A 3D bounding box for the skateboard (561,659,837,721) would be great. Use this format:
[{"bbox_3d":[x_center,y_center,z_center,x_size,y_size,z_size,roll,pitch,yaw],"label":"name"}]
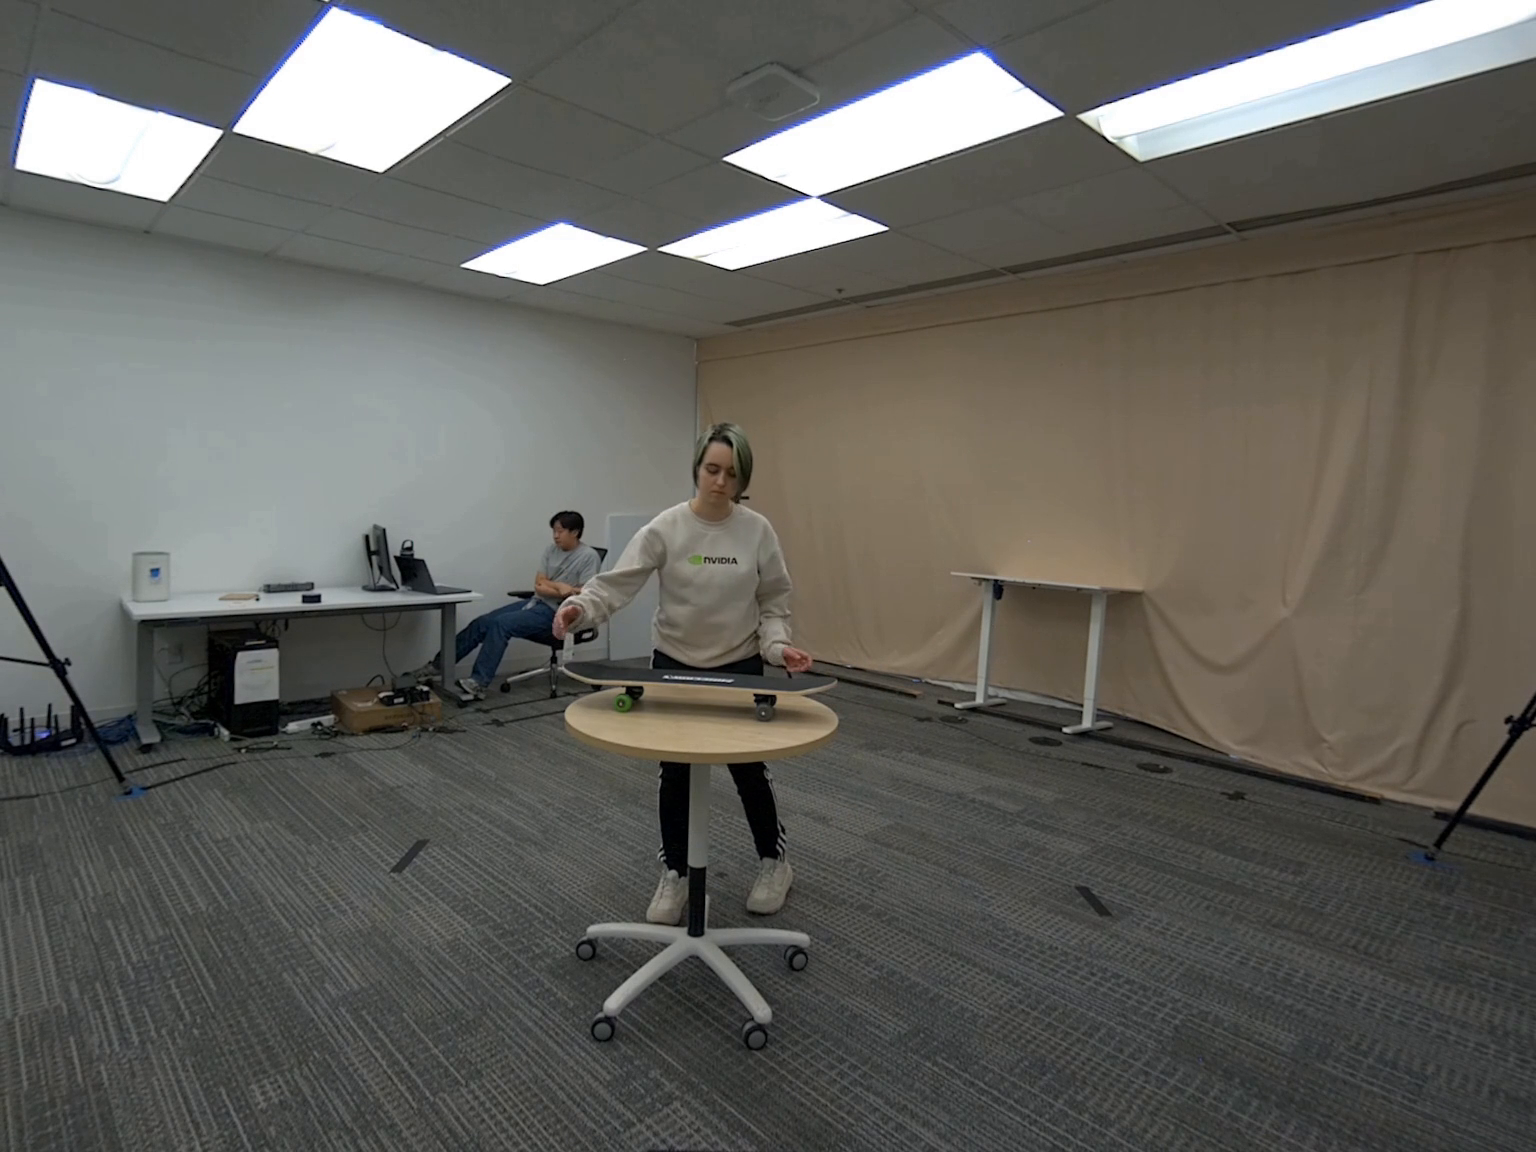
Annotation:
[{"bbox_3d":[-0.206,0.337,2.400,0.790,0.110,0.193,2,4,6],"label":"skateboard"}]
